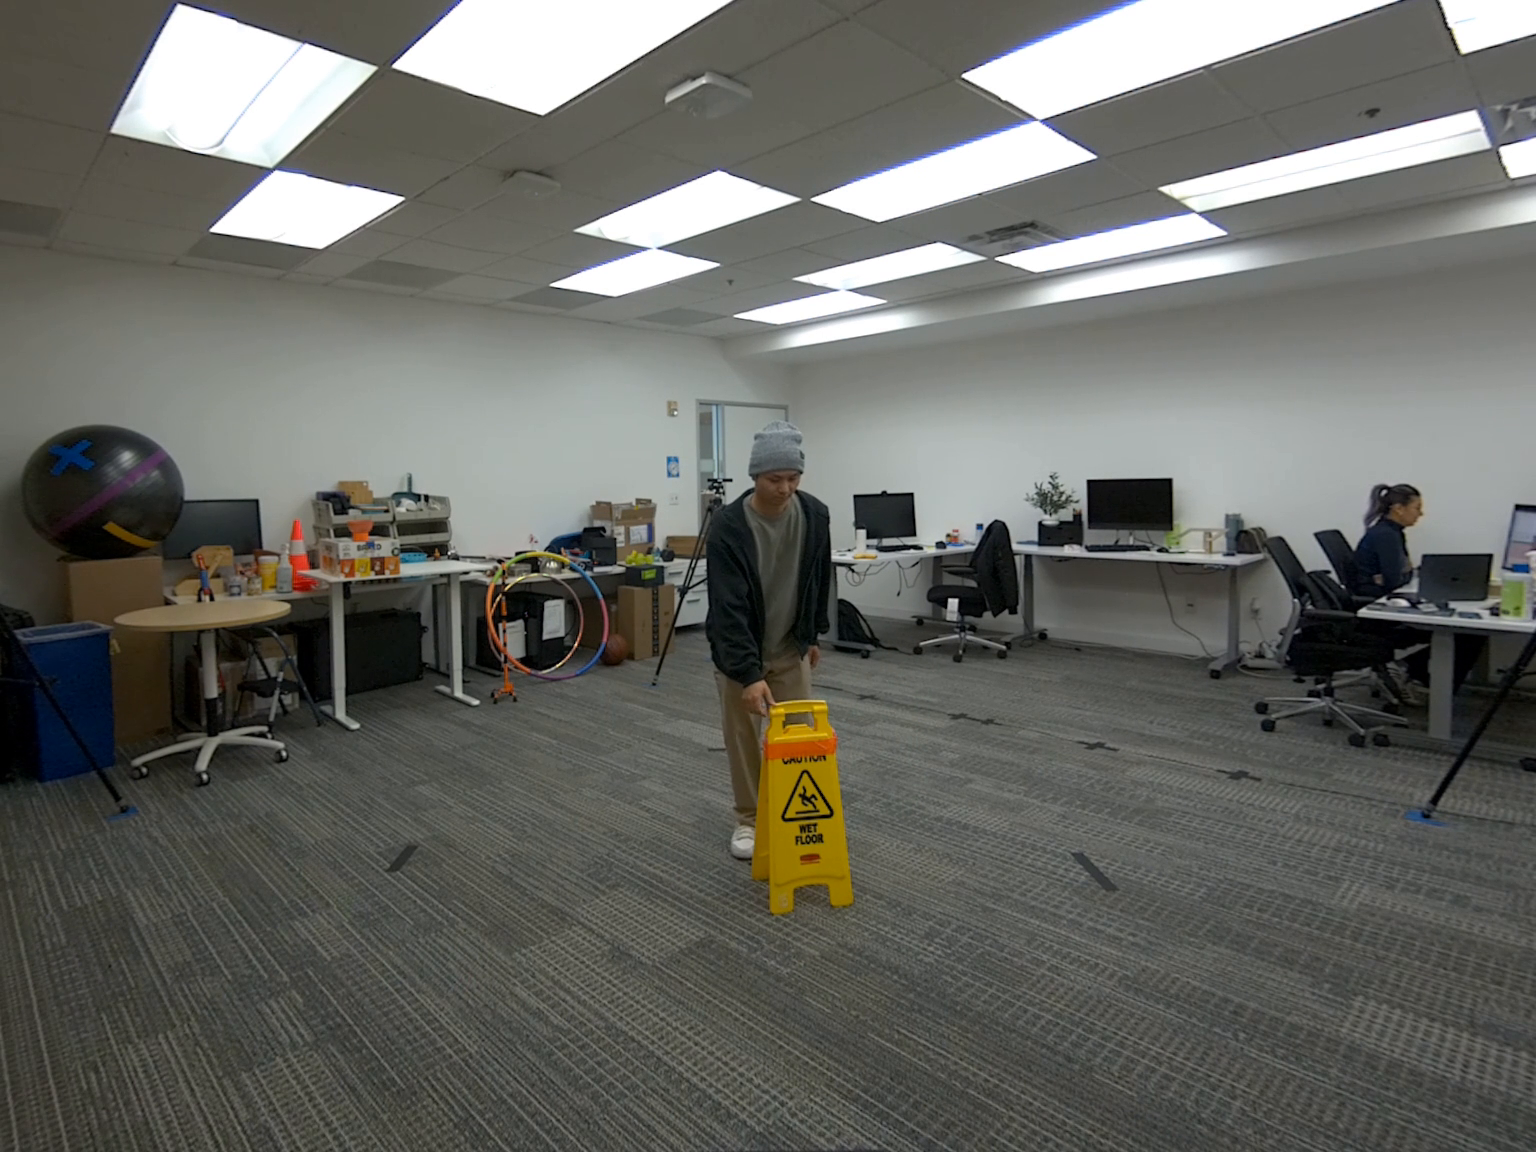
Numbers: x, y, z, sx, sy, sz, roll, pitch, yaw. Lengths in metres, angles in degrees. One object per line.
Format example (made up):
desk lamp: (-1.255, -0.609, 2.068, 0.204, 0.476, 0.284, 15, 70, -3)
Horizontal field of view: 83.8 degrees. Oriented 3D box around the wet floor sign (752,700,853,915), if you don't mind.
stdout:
wet floor sign: (0.109, 0.745, 2.867, 0.279, 0.643, 0.294, -3, 5, -13)
